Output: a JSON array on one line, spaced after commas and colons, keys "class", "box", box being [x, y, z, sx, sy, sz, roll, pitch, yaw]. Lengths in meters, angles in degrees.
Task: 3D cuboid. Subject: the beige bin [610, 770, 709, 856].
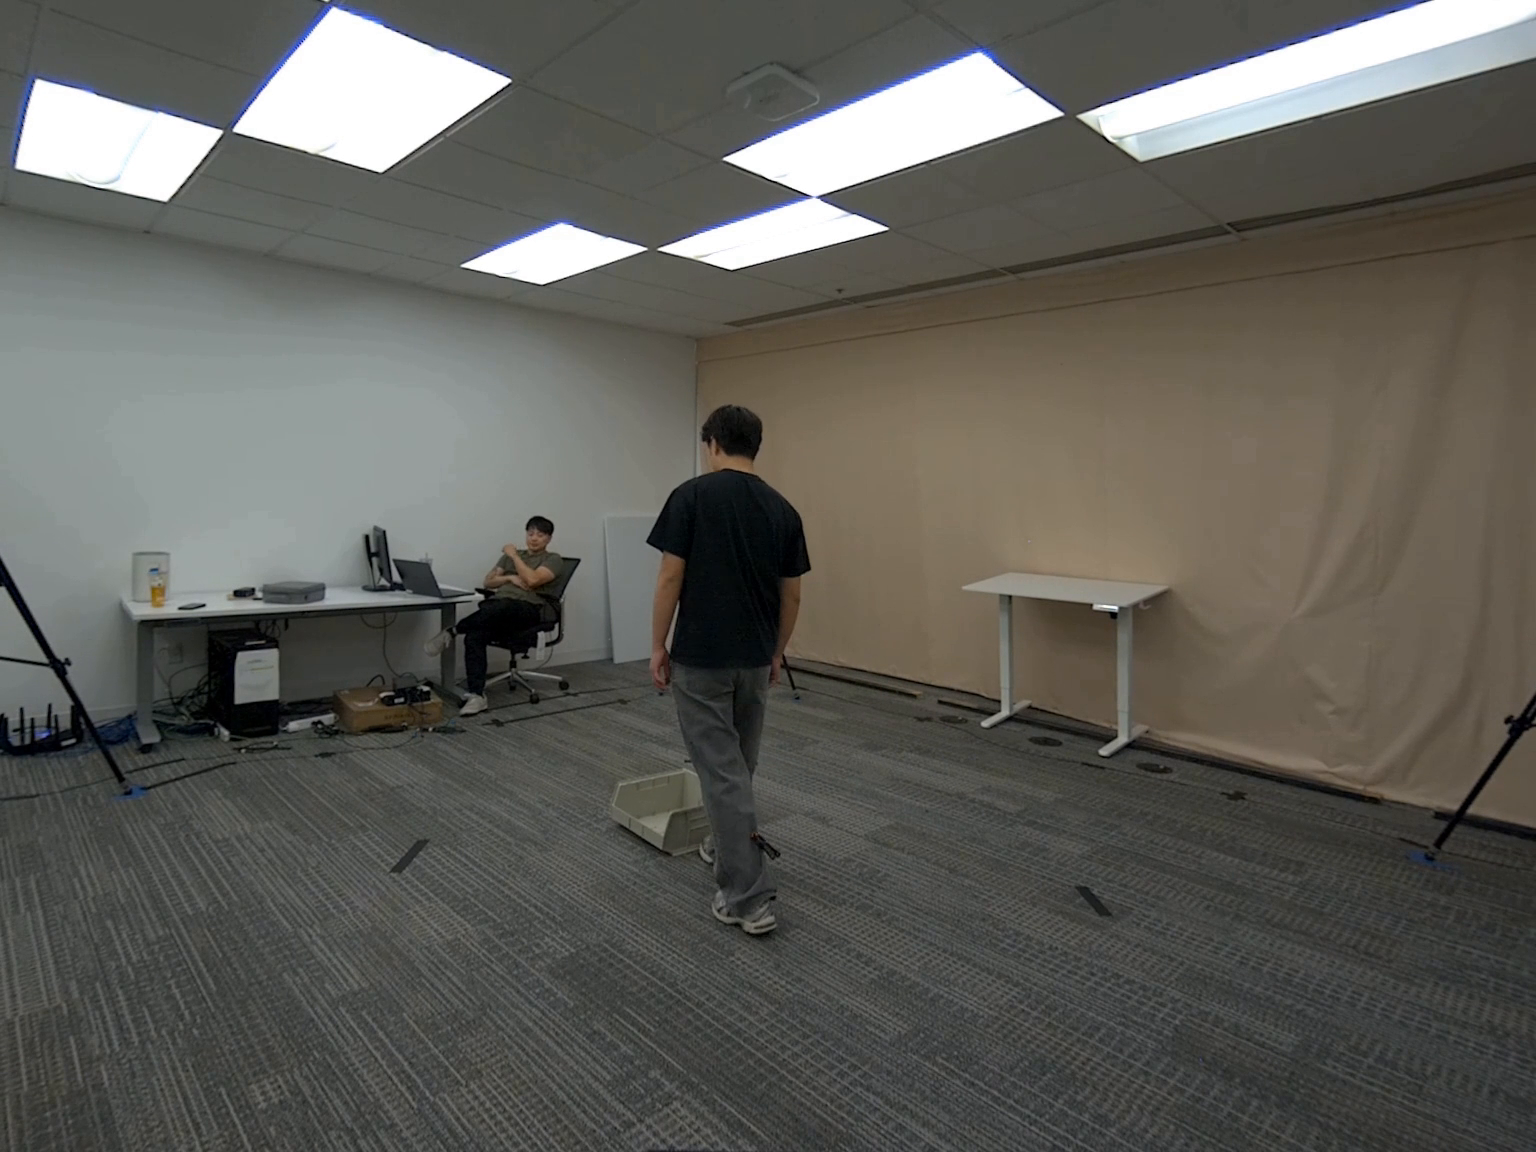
[{"class": "beige bin", "box": [-0.395, 0.975, 3.491, 0.369, 0.188, 0.433, -1, 5, -38]}]
